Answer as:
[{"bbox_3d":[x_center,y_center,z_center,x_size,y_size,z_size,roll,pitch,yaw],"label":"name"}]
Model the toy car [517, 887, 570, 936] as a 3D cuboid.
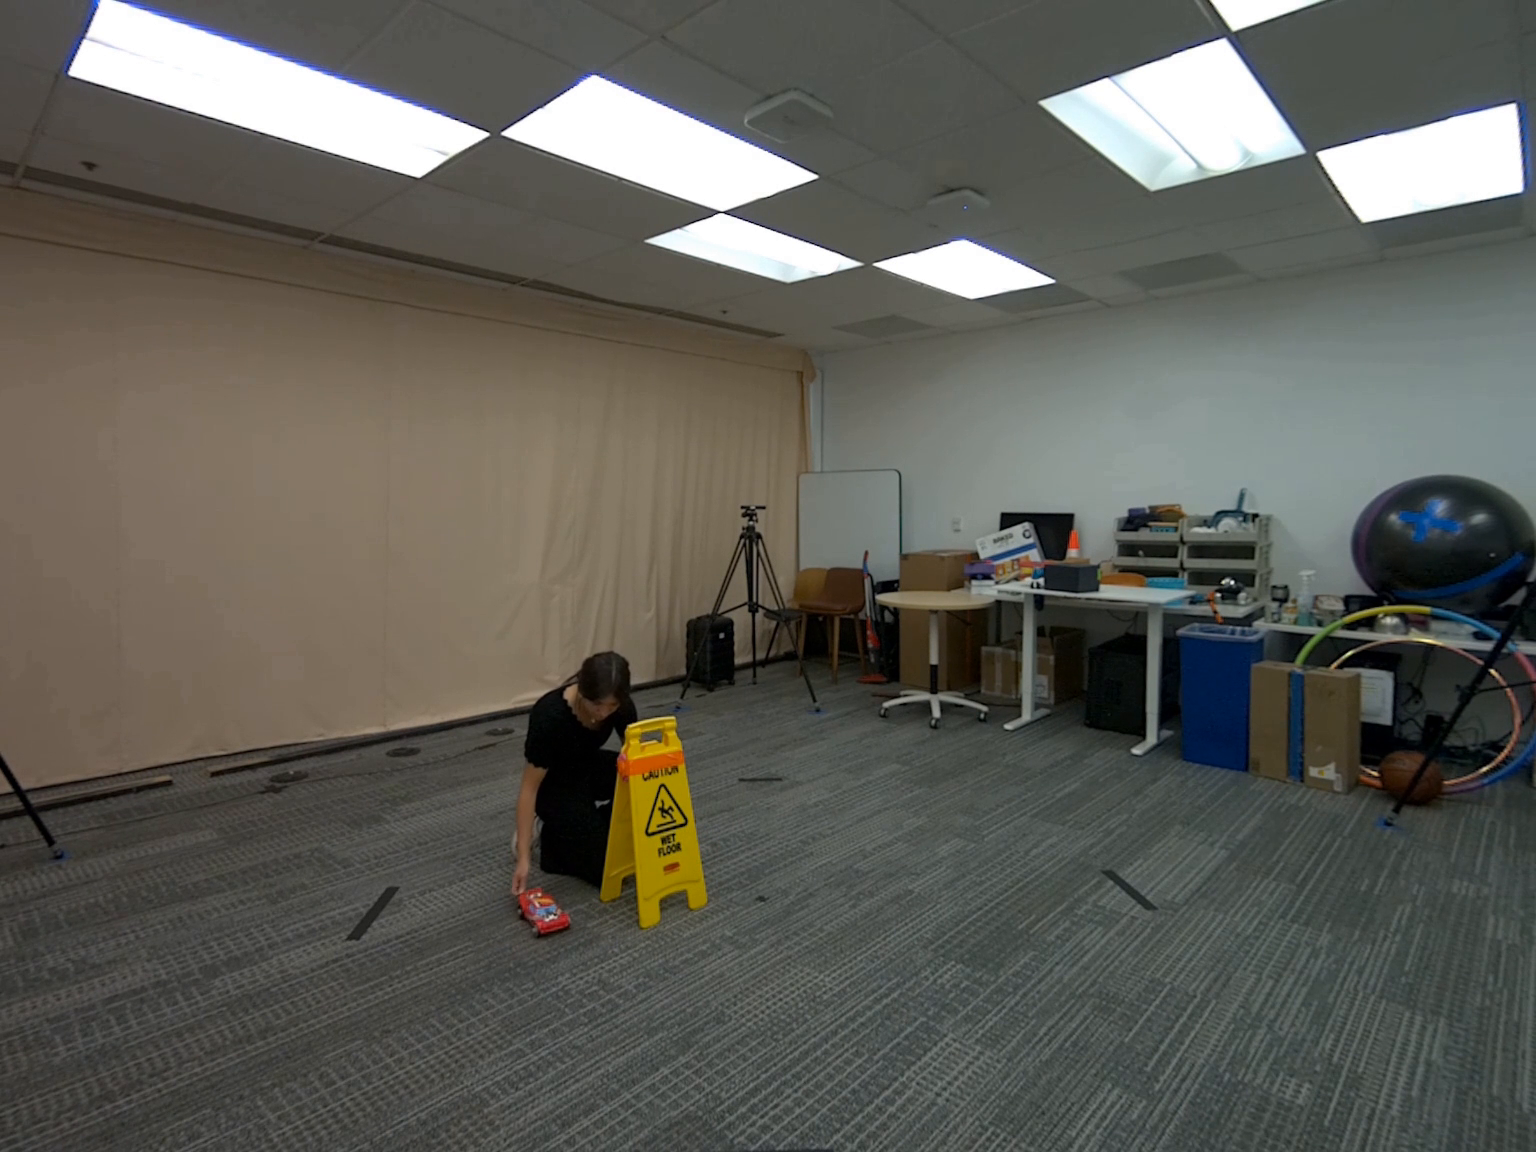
[{"bbox_3d":[-0.757,1.126,2.840,0.127,0.082,0.263,-4,16,-33],"label":"toy car"}]
